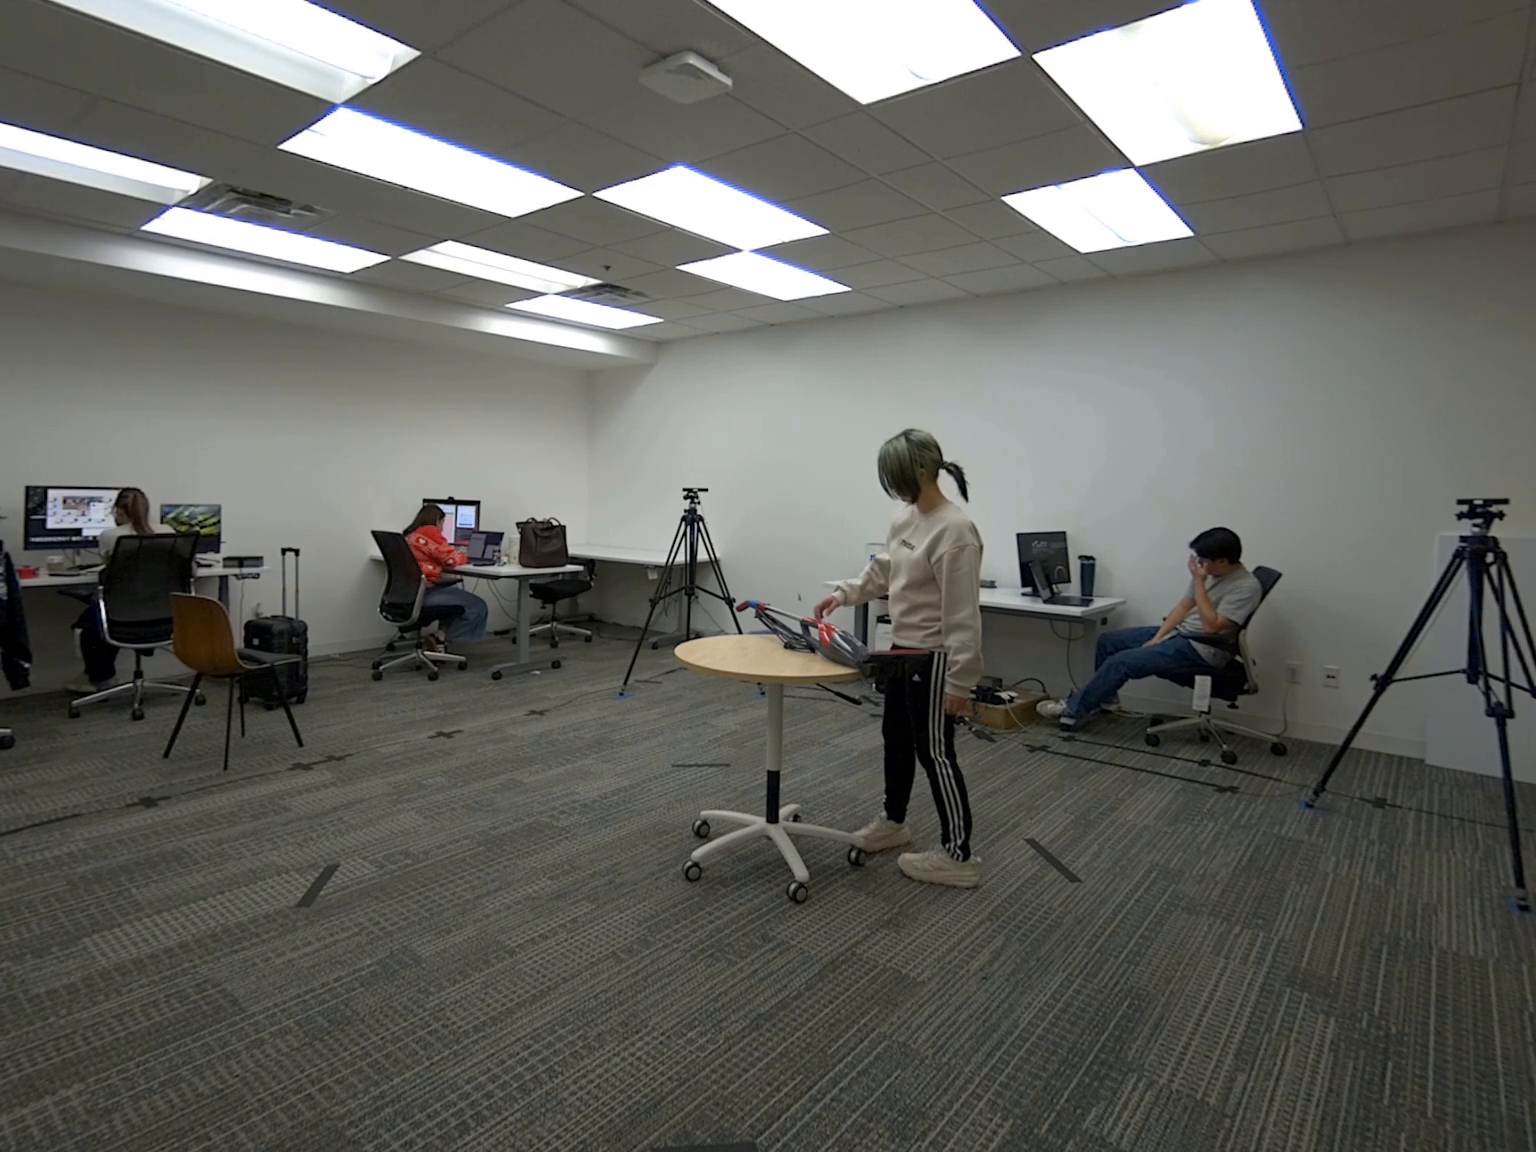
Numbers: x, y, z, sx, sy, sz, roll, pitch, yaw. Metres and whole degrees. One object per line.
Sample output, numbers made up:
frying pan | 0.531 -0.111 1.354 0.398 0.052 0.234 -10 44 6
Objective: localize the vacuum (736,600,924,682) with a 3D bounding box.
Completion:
vacuum | 0.125 0.228 3.274 0.245 0.143 1.083 3 6 -29
